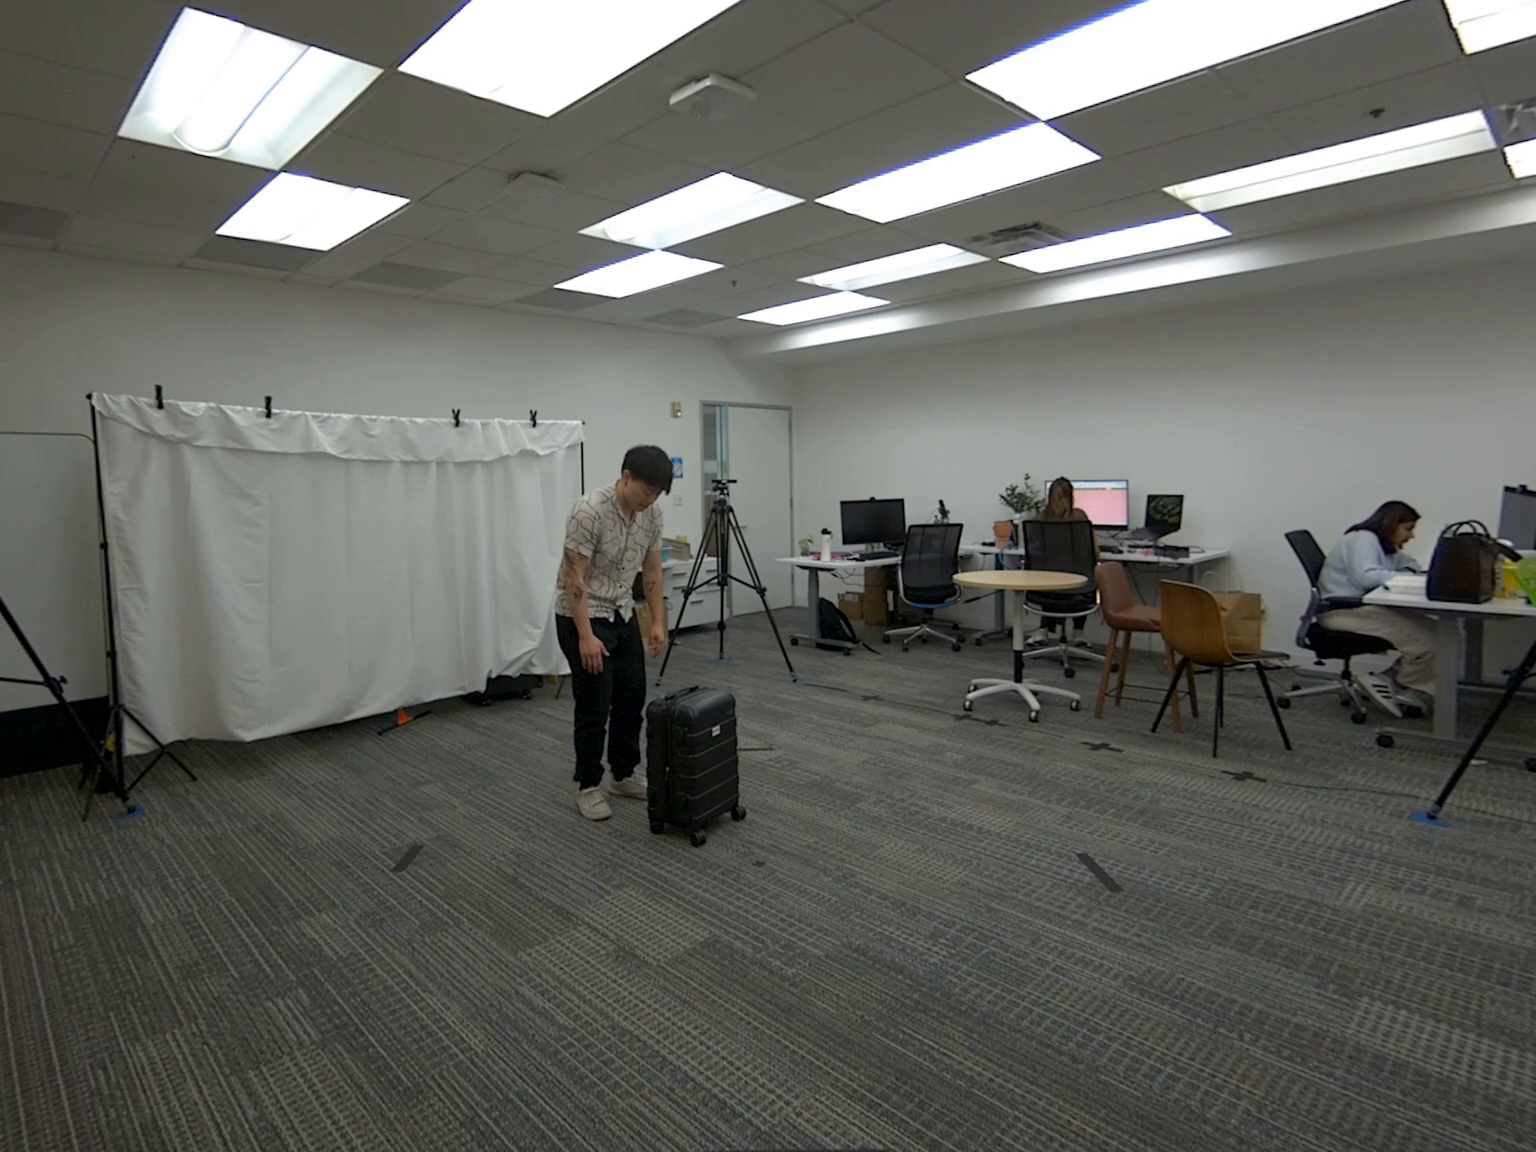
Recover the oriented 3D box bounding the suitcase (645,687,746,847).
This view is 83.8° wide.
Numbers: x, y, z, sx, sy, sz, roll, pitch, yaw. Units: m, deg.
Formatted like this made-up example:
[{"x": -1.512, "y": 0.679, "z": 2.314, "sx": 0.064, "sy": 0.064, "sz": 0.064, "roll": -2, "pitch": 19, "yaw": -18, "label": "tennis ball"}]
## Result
[{"x": -0.300, "y": 0.738, "z": 3.456, "sx": 0.255, "sy": 0.548, "sz": 0.366, "roll": 0, "pitch": 3, "yaw": 32, "label": "suitcase"}]
